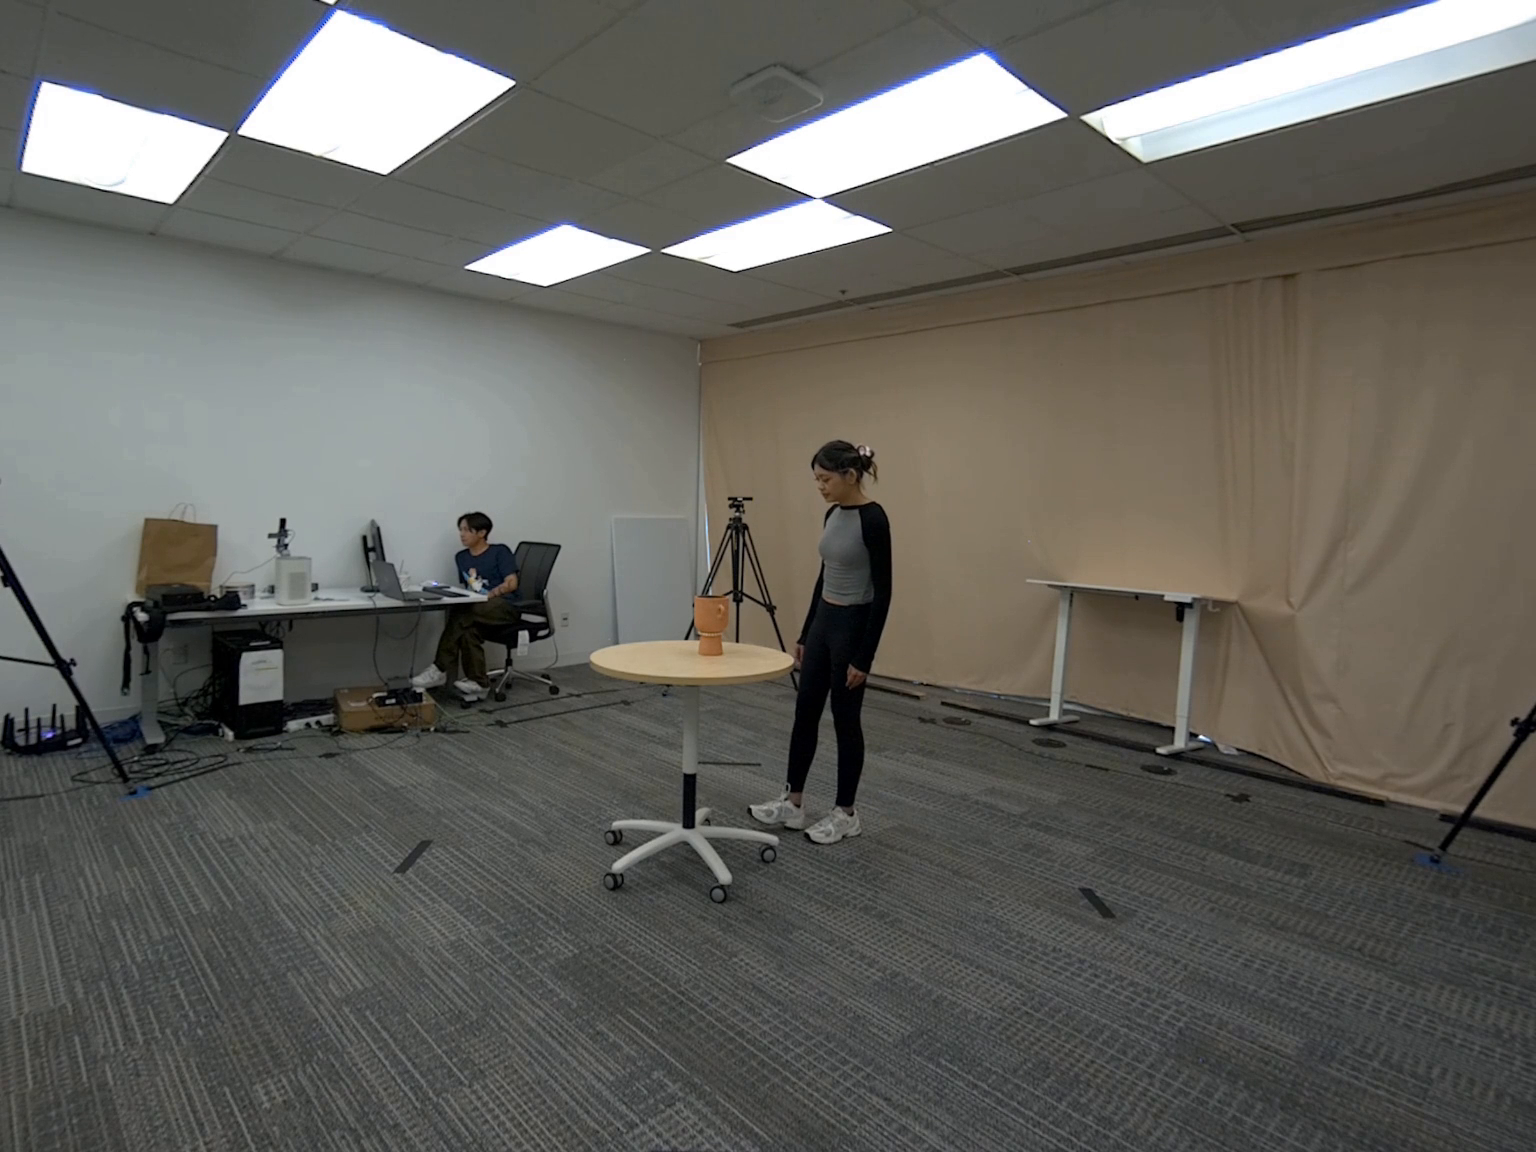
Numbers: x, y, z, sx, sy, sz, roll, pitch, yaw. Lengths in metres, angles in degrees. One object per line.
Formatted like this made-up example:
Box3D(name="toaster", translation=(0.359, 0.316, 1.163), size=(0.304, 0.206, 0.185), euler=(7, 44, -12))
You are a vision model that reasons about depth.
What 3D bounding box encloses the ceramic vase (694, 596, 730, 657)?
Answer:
Box3D(name="ceramic vase", translation=(-0.231, 0.192, 3.243), size=(0.136, 0.219, 0.158), euler=(2, 4, 8))
